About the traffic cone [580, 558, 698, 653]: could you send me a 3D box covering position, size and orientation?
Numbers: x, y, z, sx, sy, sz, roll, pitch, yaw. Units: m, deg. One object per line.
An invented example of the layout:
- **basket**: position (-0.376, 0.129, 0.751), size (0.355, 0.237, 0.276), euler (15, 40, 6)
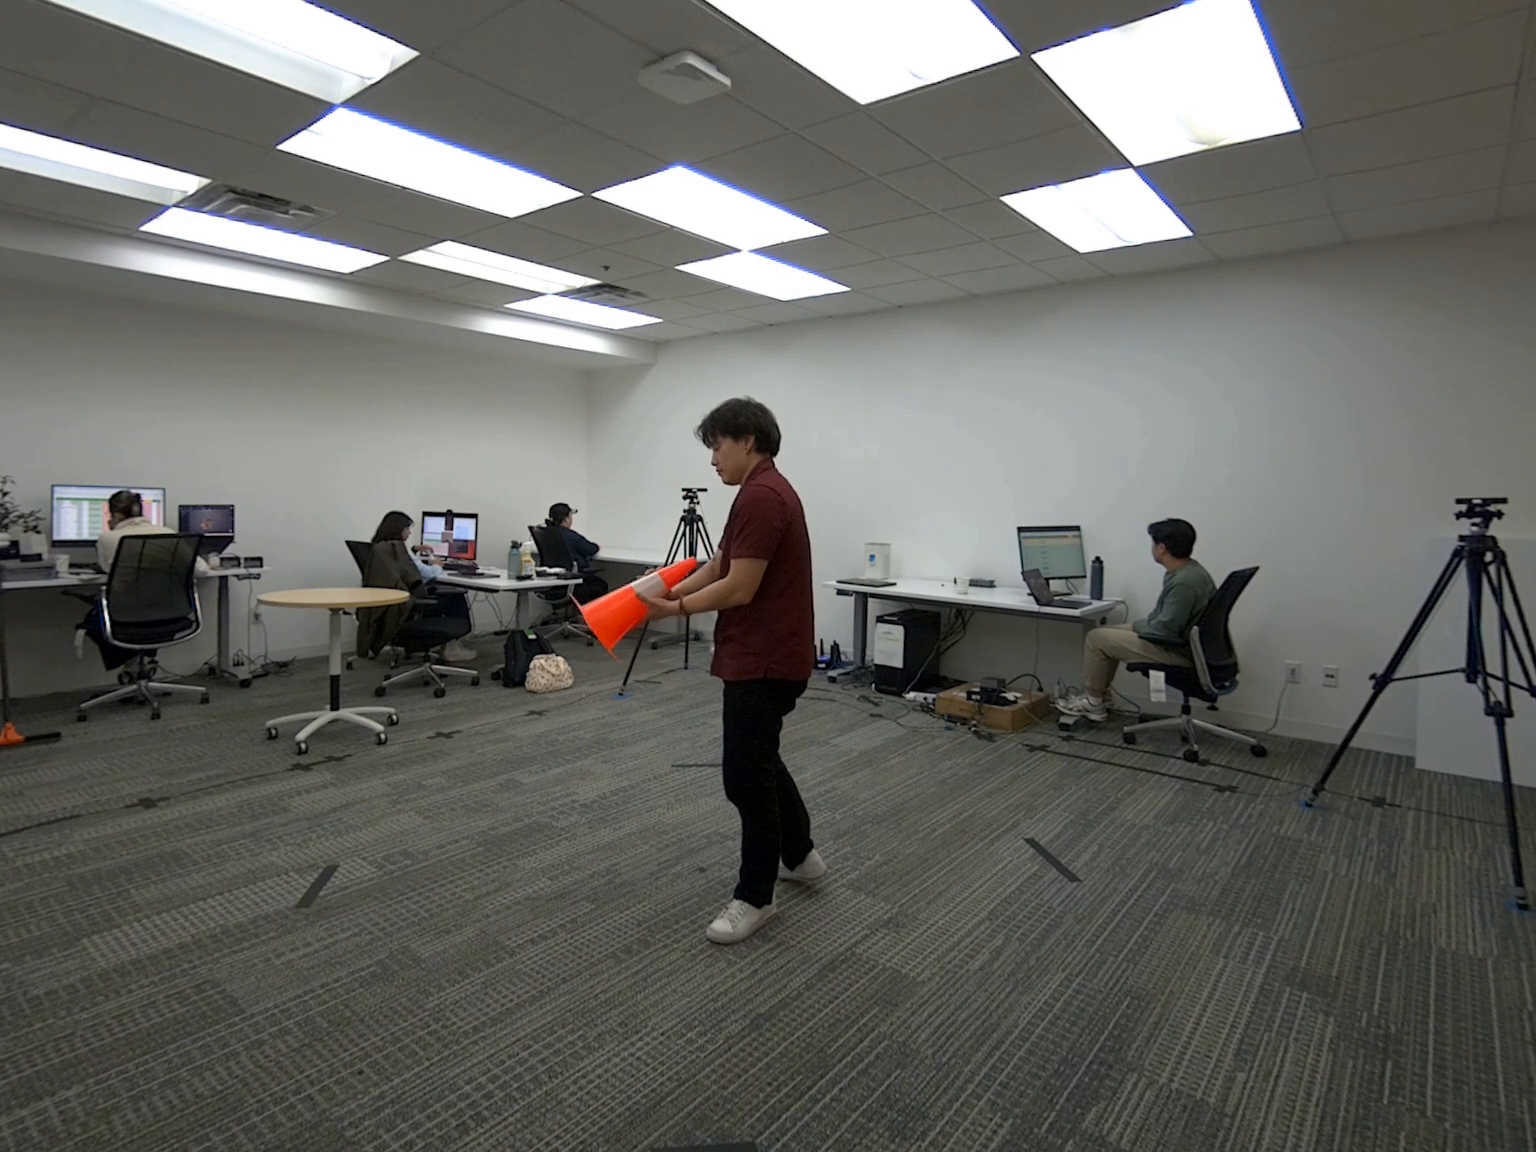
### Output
- **traffic cone**: position (-0.397, 0.055, 2.645), size (0.382, 0.197, 0.212), euler (-35, 47, -8)
